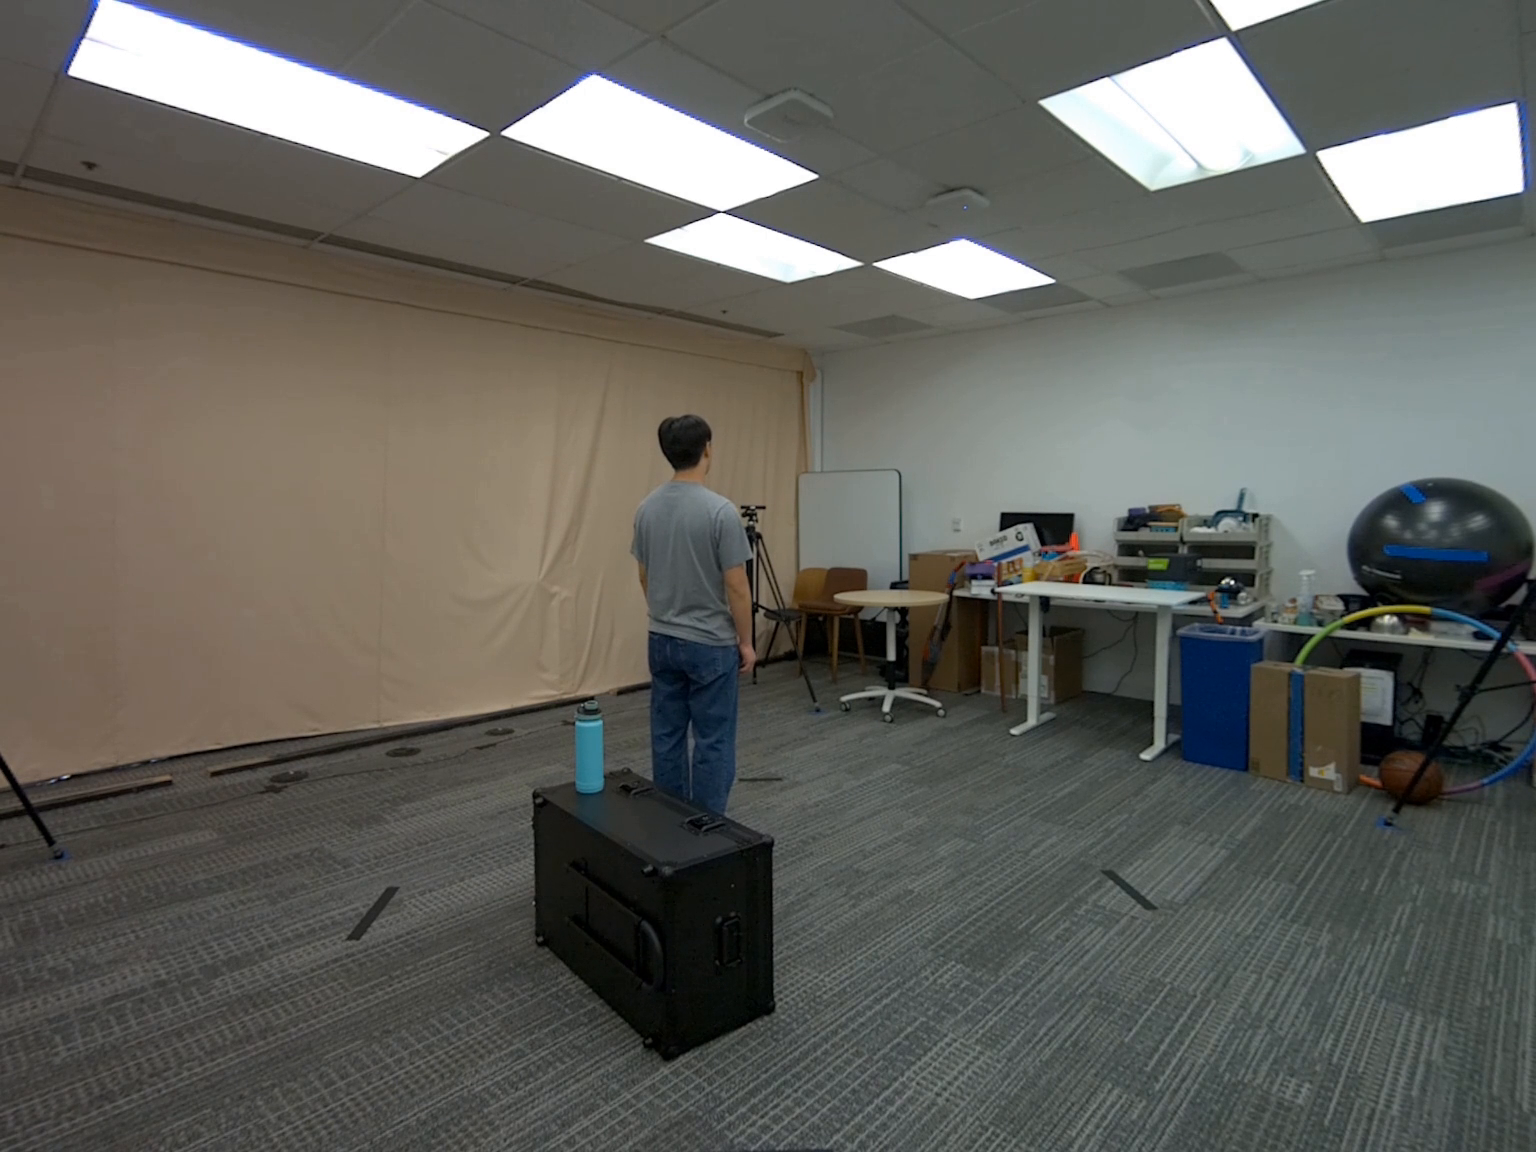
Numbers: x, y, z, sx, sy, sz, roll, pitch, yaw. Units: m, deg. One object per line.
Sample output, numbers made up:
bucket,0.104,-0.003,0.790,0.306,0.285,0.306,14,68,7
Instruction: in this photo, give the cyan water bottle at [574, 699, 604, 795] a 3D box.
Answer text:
cyan water bottle,-0.574,0.551,2.729,0.092,0.283,0.092,-1,-1,-2
